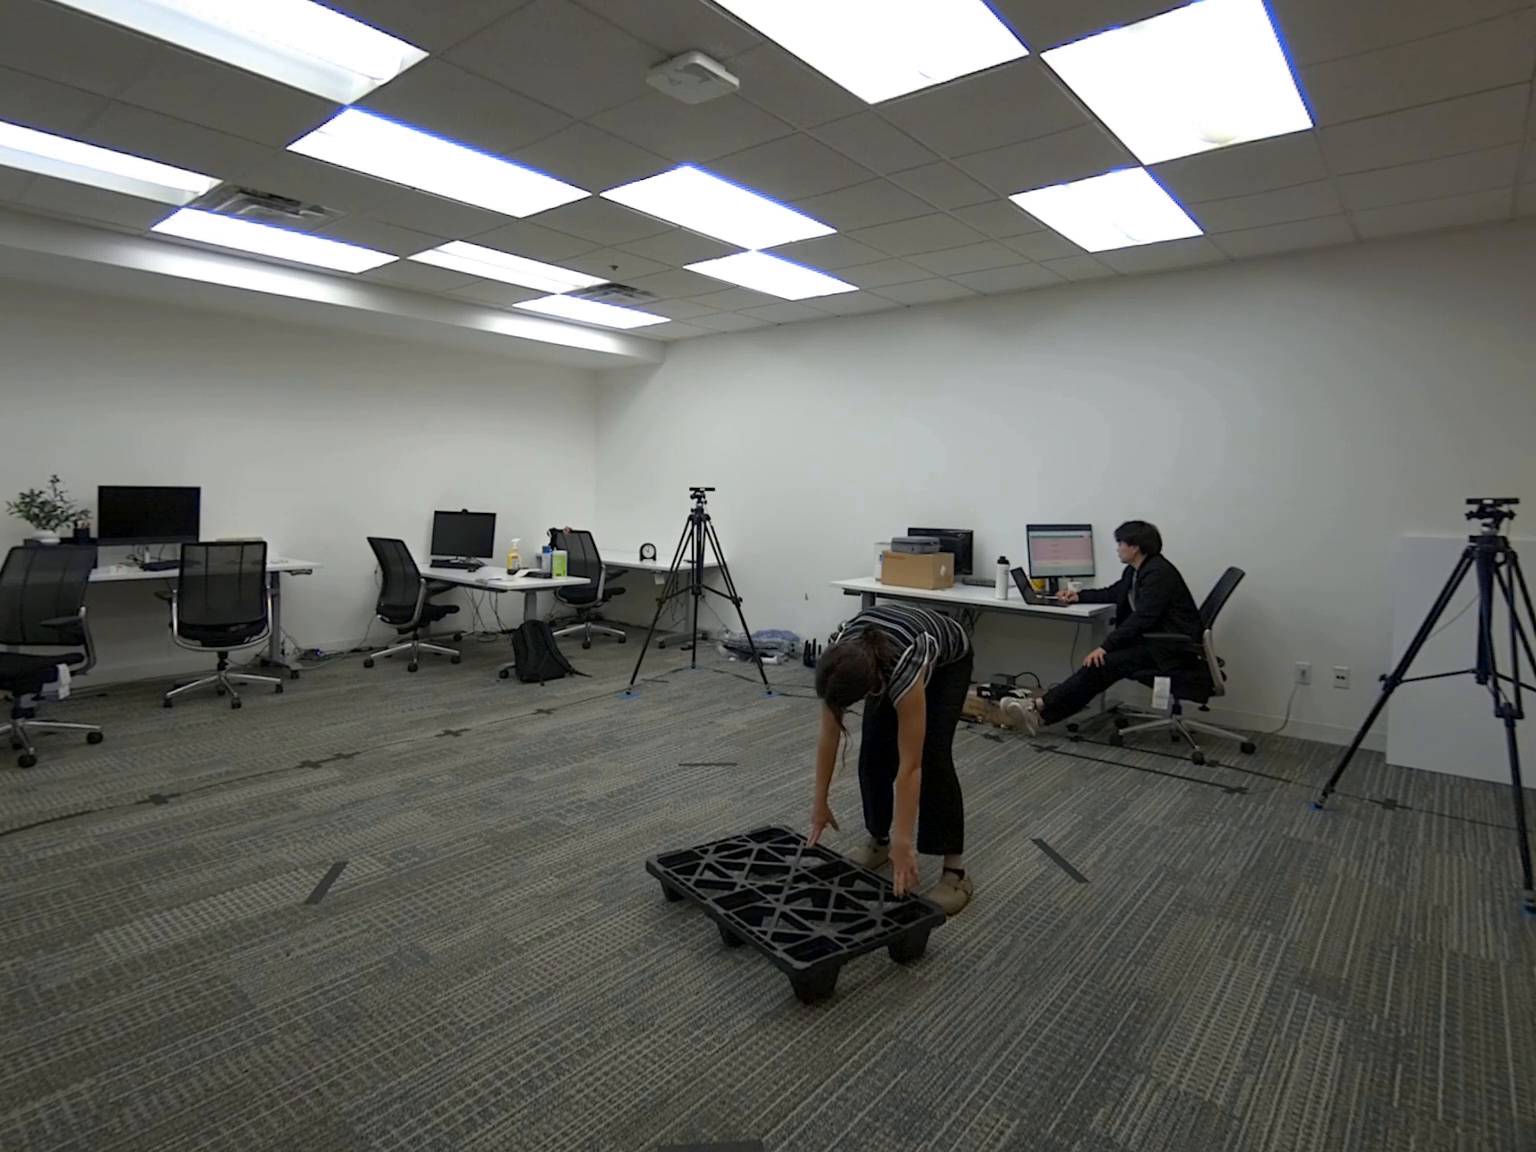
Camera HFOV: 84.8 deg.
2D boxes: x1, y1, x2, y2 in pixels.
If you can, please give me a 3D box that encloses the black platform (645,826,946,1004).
[{"bbox_3d":[0.051,1.042,2.717,0.587,0.143,0.833,-3,7,-37],"label":"black platform"}]
